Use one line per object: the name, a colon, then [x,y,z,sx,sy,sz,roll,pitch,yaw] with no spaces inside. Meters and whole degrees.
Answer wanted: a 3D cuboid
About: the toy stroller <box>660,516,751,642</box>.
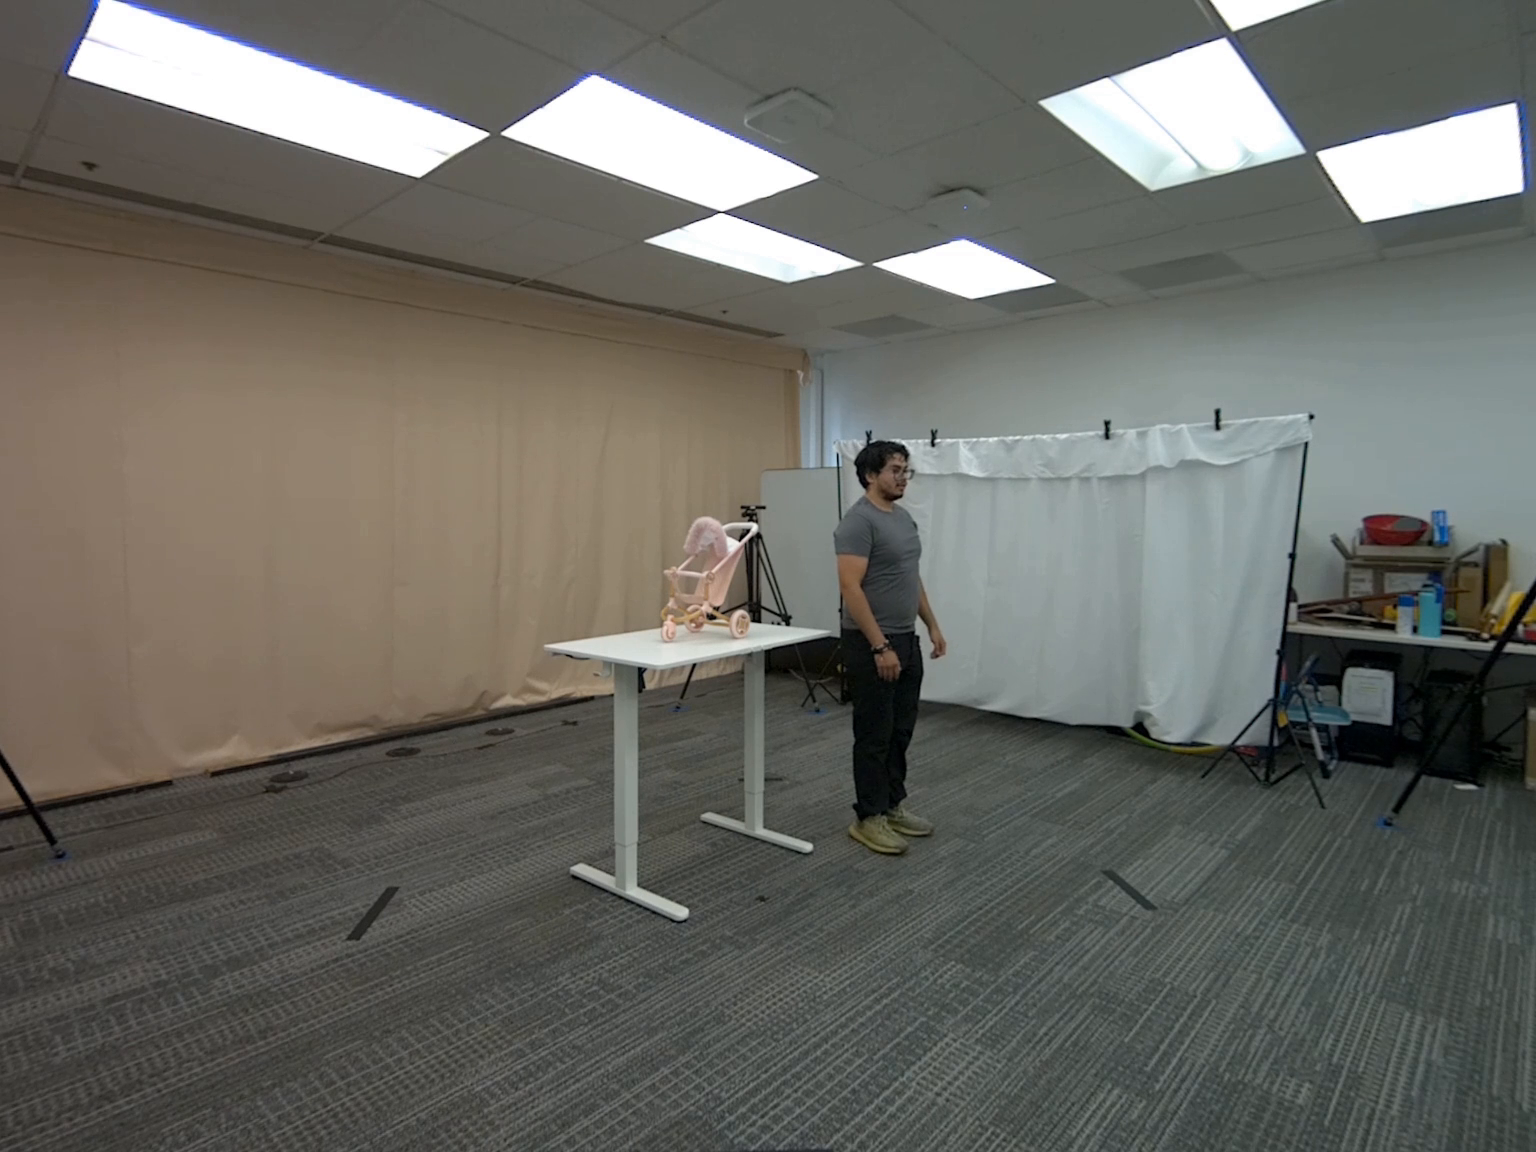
toy stroller: [-0.242,0.013,3.277,0.329,0.536,0.291,17,-9,-42]
